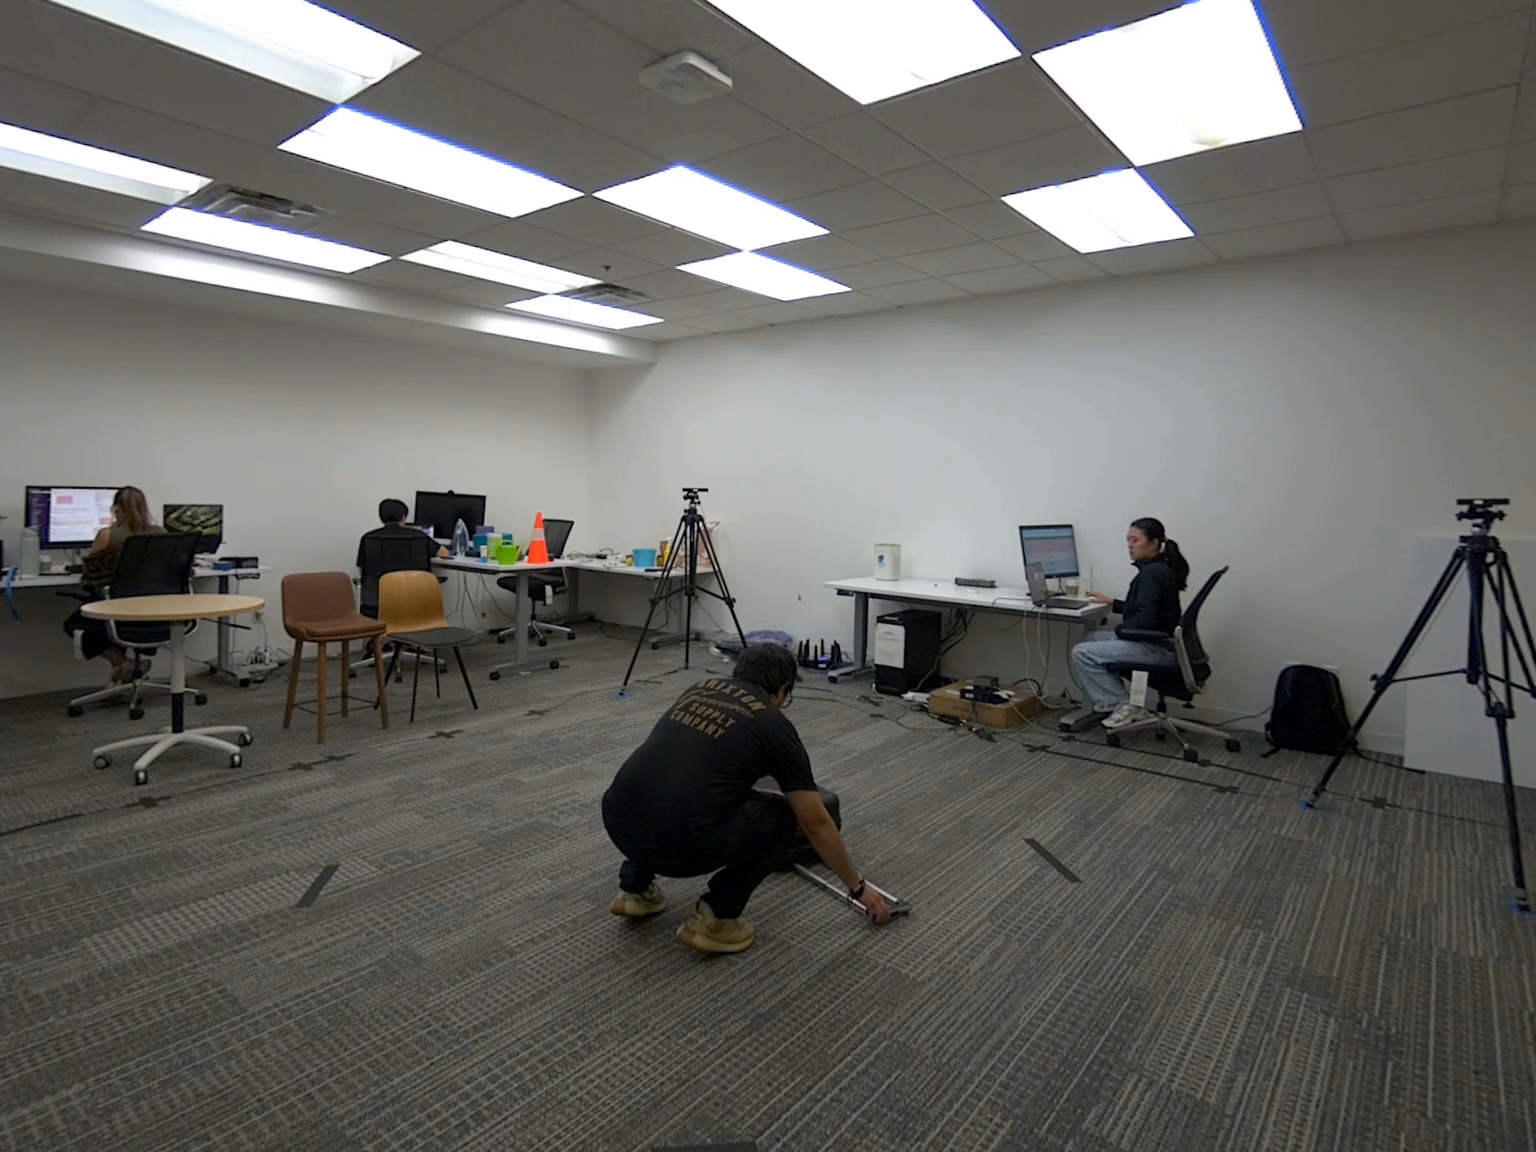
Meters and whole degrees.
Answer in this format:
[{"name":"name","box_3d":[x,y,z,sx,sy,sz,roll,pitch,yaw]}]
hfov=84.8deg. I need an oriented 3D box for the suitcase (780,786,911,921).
[{"name":"suitcase","box_3d":[0.117,0.937,3.190,0.373,0.256,1.009,-1,4,-35]}]
